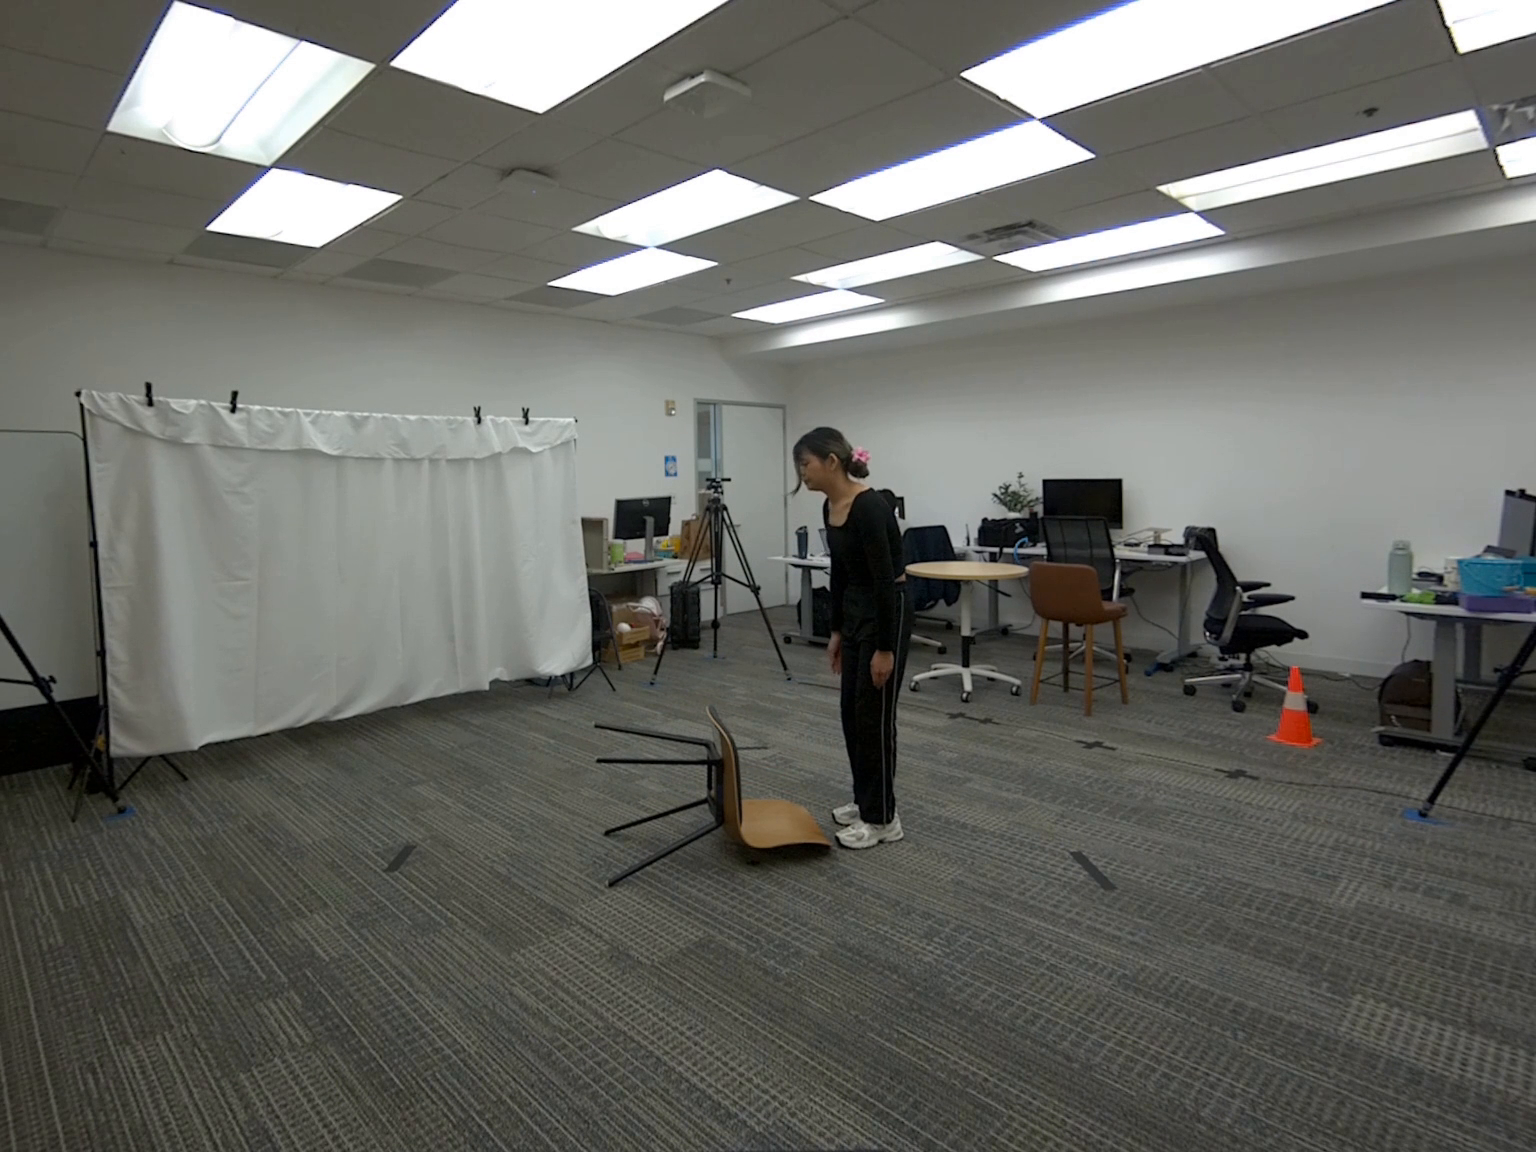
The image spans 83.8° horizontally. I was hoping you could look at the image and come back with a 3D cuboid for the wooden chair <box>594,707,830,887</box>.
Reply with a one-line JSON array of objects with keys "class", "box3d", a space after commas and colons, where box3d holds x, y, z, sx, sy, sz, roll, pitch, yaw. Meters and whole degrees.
[{"class": "wooden chair", "box3d": [-0.199, 0.771, 3.208, 0.869, 0.521, 0.485, -1, 5, -10]}]
